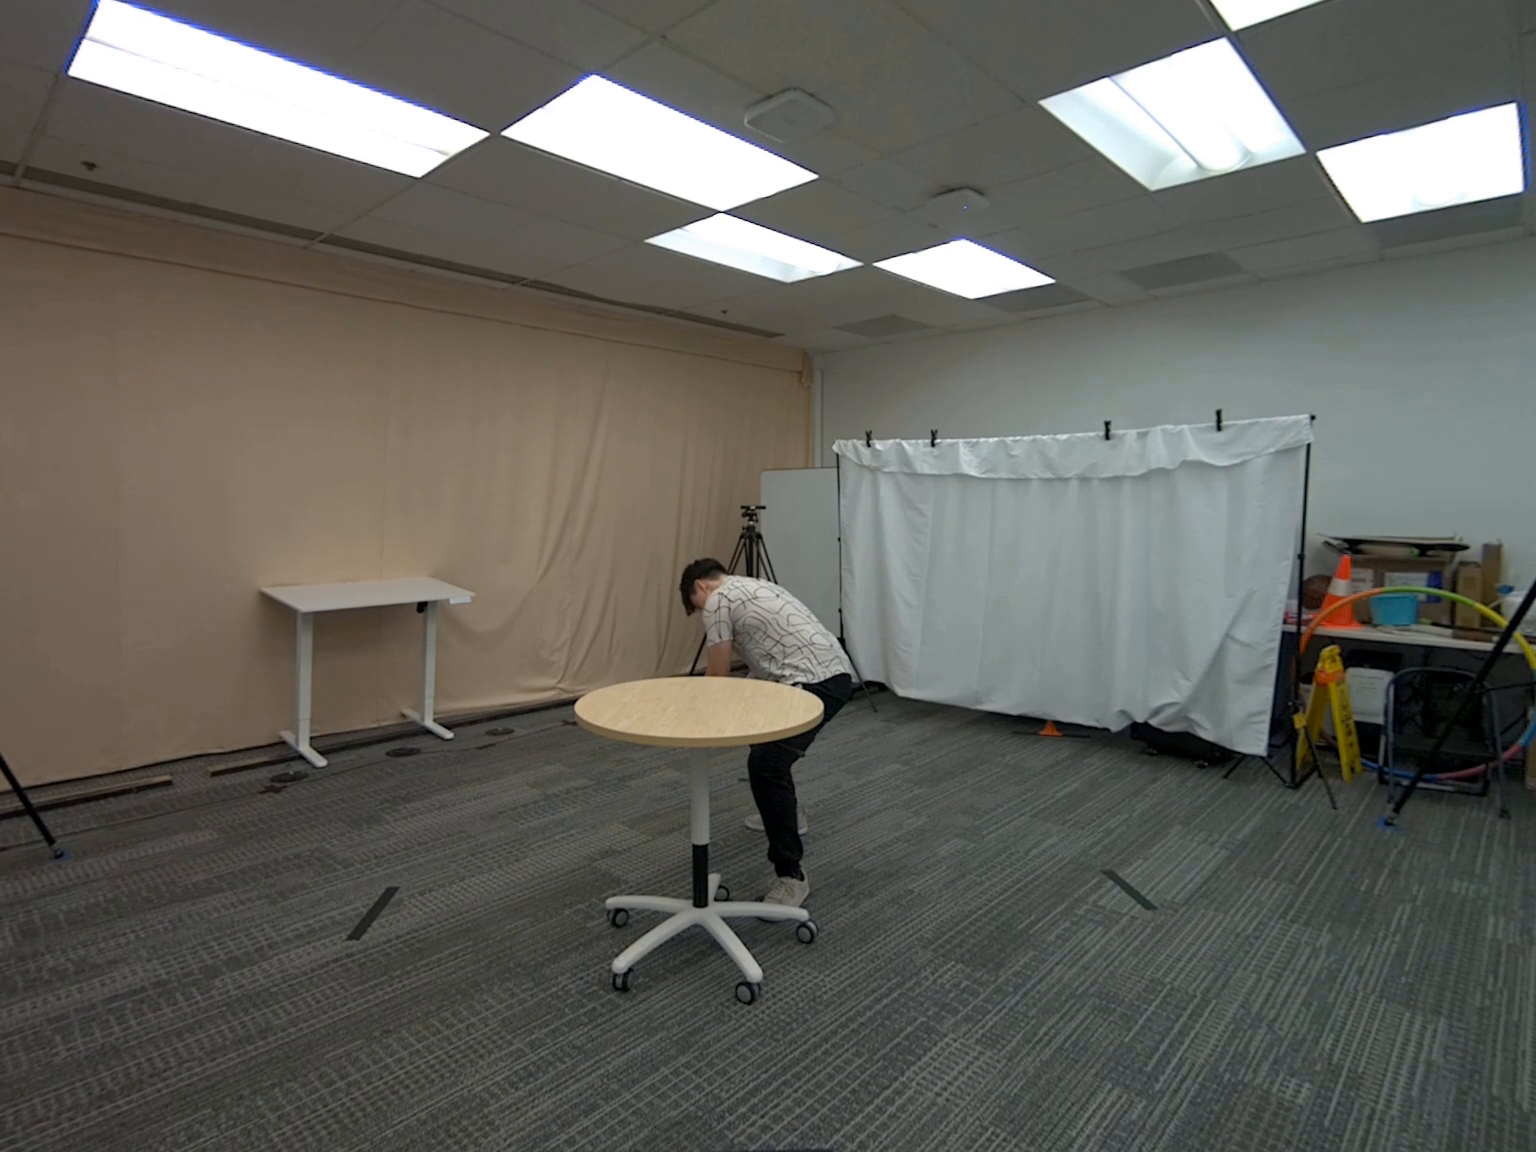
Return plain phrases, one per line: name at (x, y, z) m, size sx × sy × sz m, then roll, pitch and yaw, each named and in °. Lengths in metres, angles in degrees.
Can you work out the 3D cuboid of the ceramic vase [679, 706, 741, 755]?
ceramic vase at (-0.246, 0.649, 3.554) m, size 0.225 × 0.161 × 0.130 m, roll -17°, pitch -29°, yaw 40°
